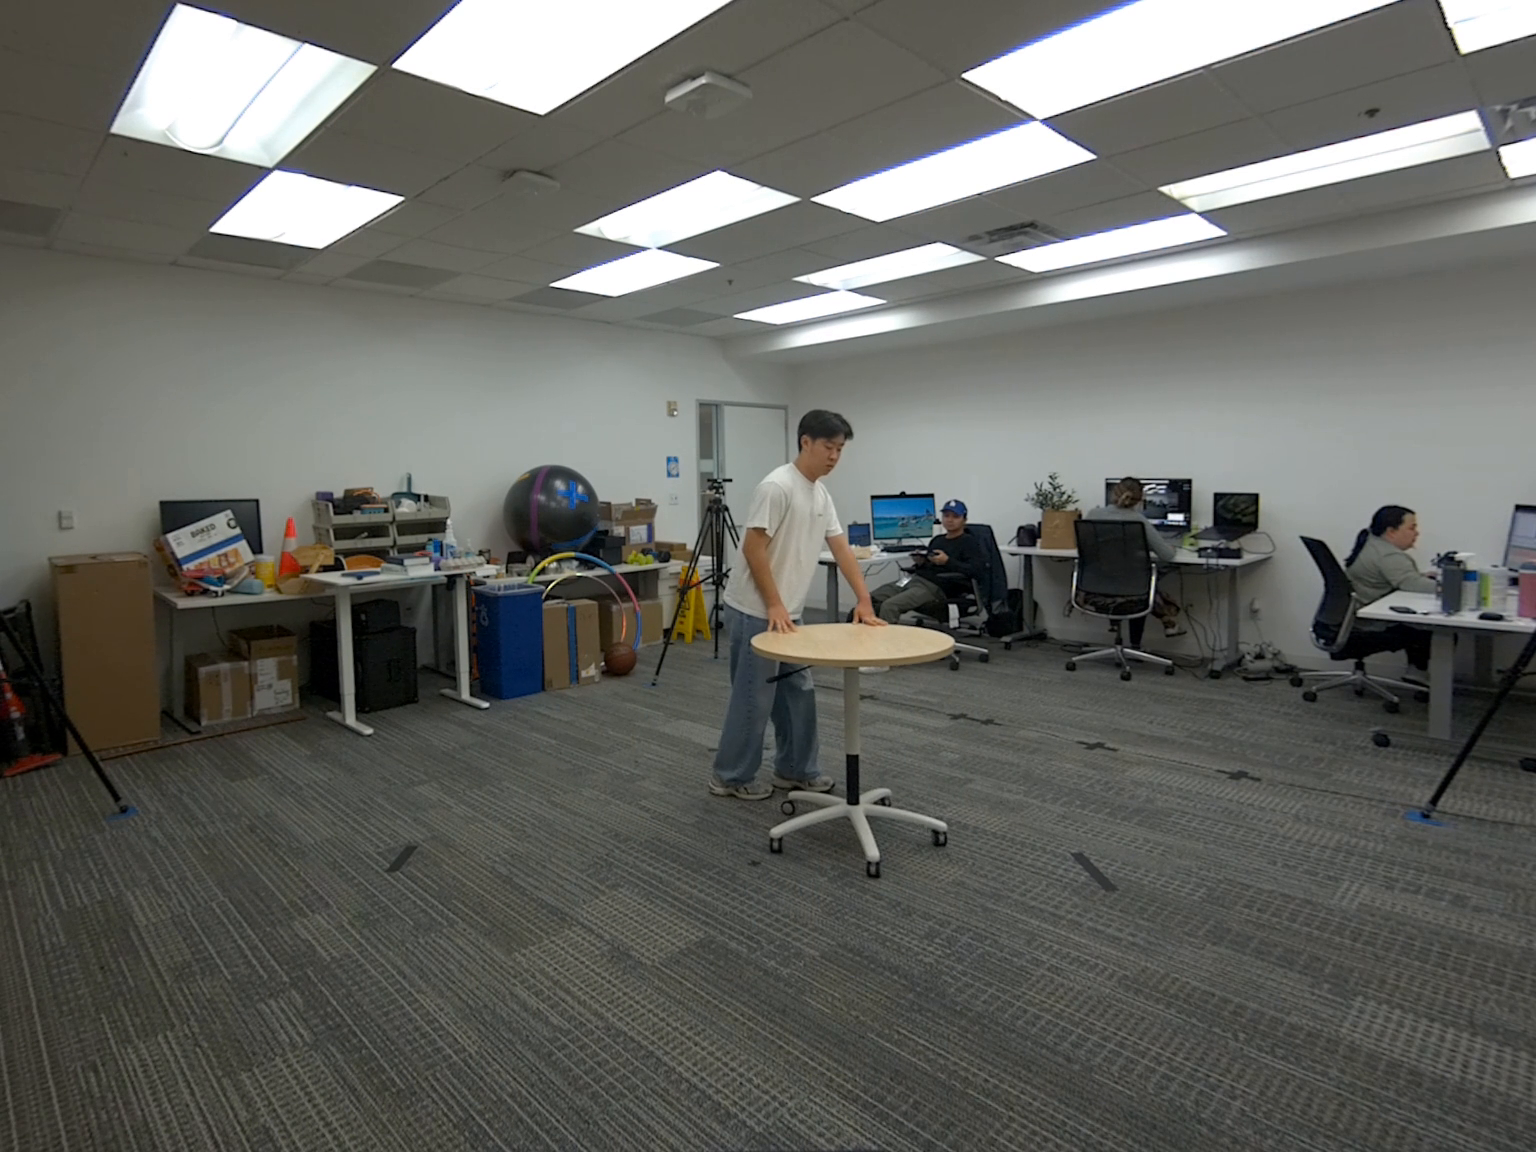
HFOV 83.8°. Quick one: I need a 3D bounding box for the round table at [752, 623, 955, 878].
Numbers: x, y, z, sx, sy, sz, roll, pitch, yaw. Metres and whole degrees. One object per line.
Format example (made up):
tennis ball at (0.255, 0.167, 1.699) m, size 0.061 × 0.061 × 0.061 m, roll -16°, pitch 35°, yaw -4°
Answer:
round table at (0.321, 0.634, 3.280) m, size 0.763 × 0.791 × 0.768 m, roll -1°, pitch 5°, yaw -2°
